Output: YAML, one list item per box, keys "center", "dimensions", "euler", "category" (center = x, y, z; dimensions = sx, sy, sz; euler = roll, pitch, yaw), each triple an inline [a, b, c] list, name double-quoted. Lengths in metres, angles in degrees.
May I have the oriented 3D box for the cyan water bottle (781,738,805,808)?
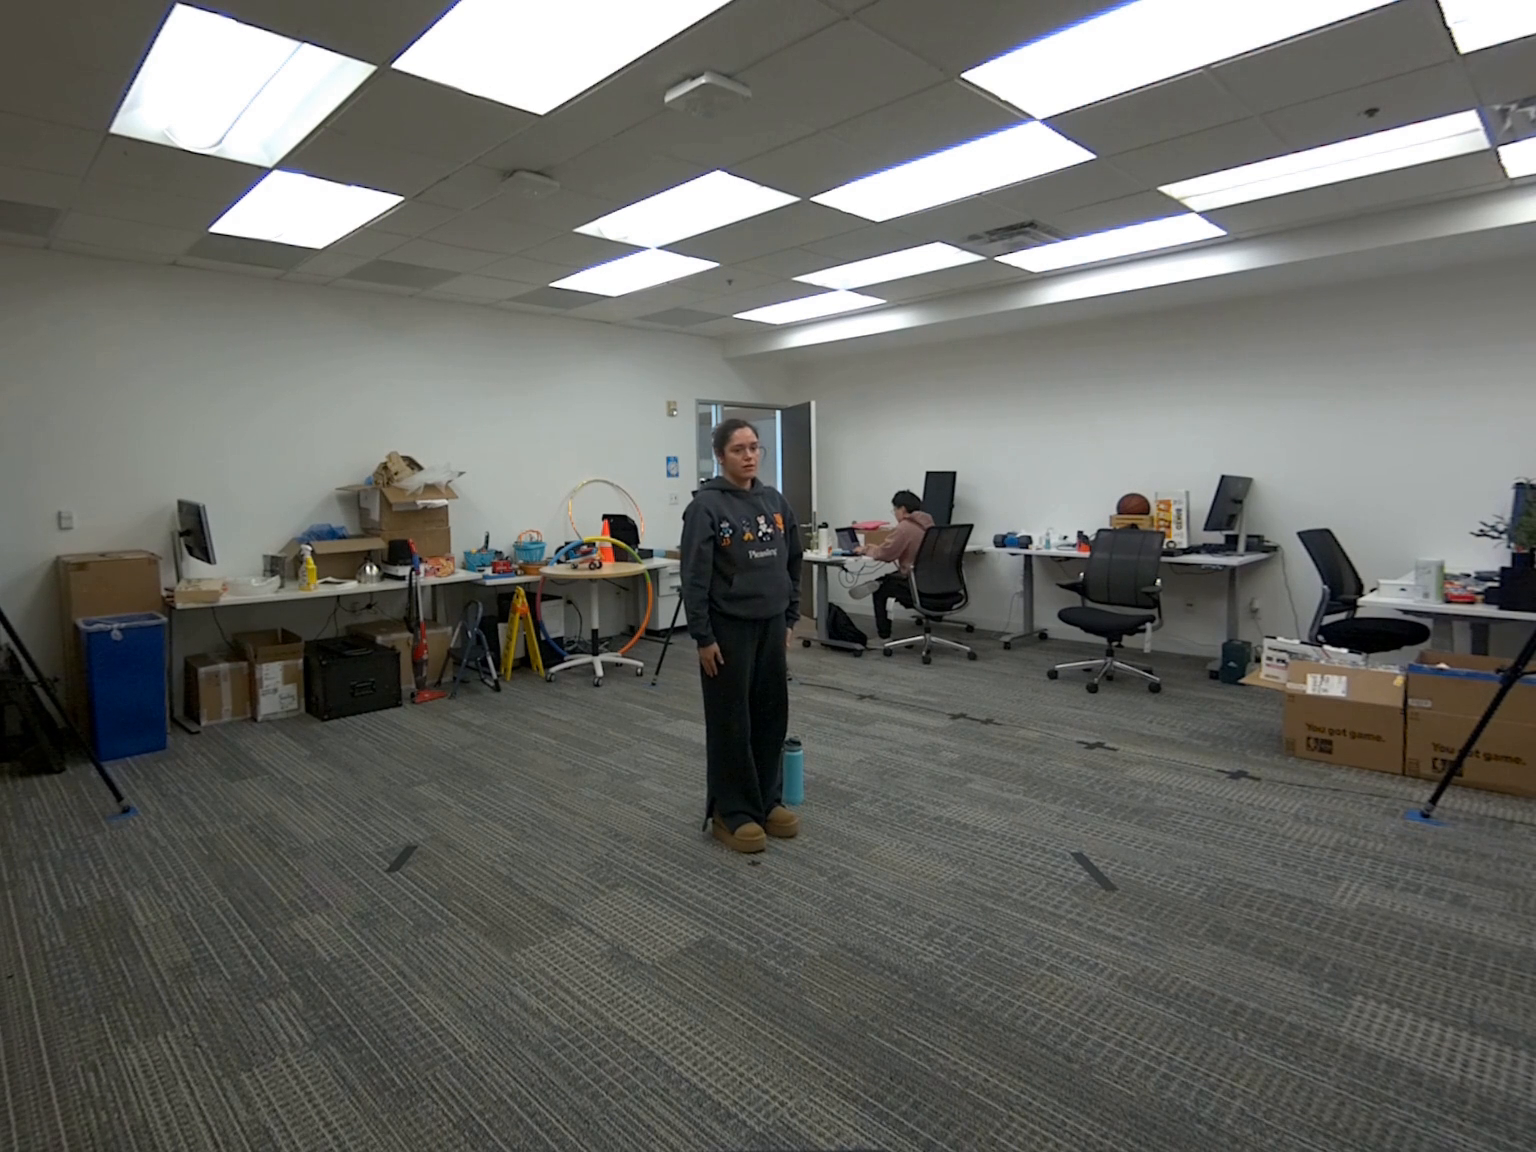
- center: [0.110, 0.836, 3.678]
  dimensions: [0.092, 0.282, 0.093]
  euler: [-2, 5, -1]
  category: "cyan water bottle"
